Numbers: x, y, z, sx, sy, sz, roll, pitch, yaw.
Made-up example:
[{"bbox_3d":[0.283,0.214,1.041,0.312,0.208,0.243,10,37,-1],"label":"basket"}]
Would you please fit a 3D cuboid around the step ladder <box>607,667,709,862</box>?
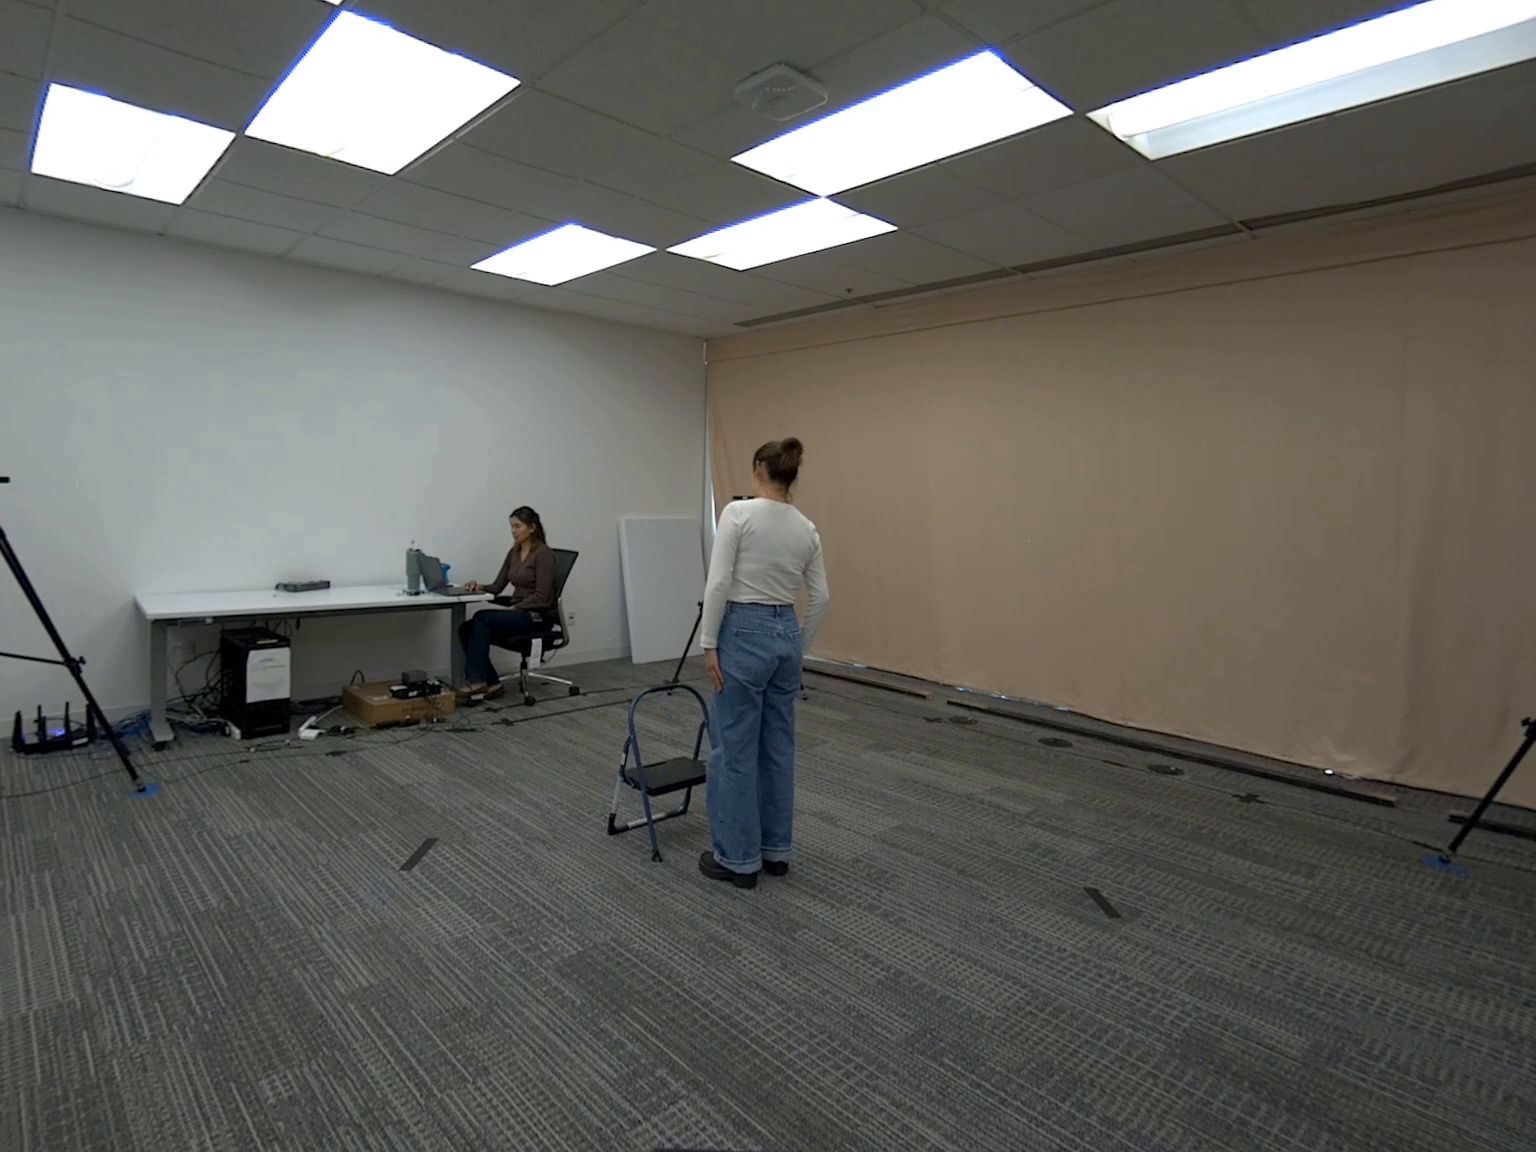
[{"bbox_3d":[-0.391,0.762,3.448,0.421,0.604,0.358,-2,5,-45],"label":"step ladder"}]
